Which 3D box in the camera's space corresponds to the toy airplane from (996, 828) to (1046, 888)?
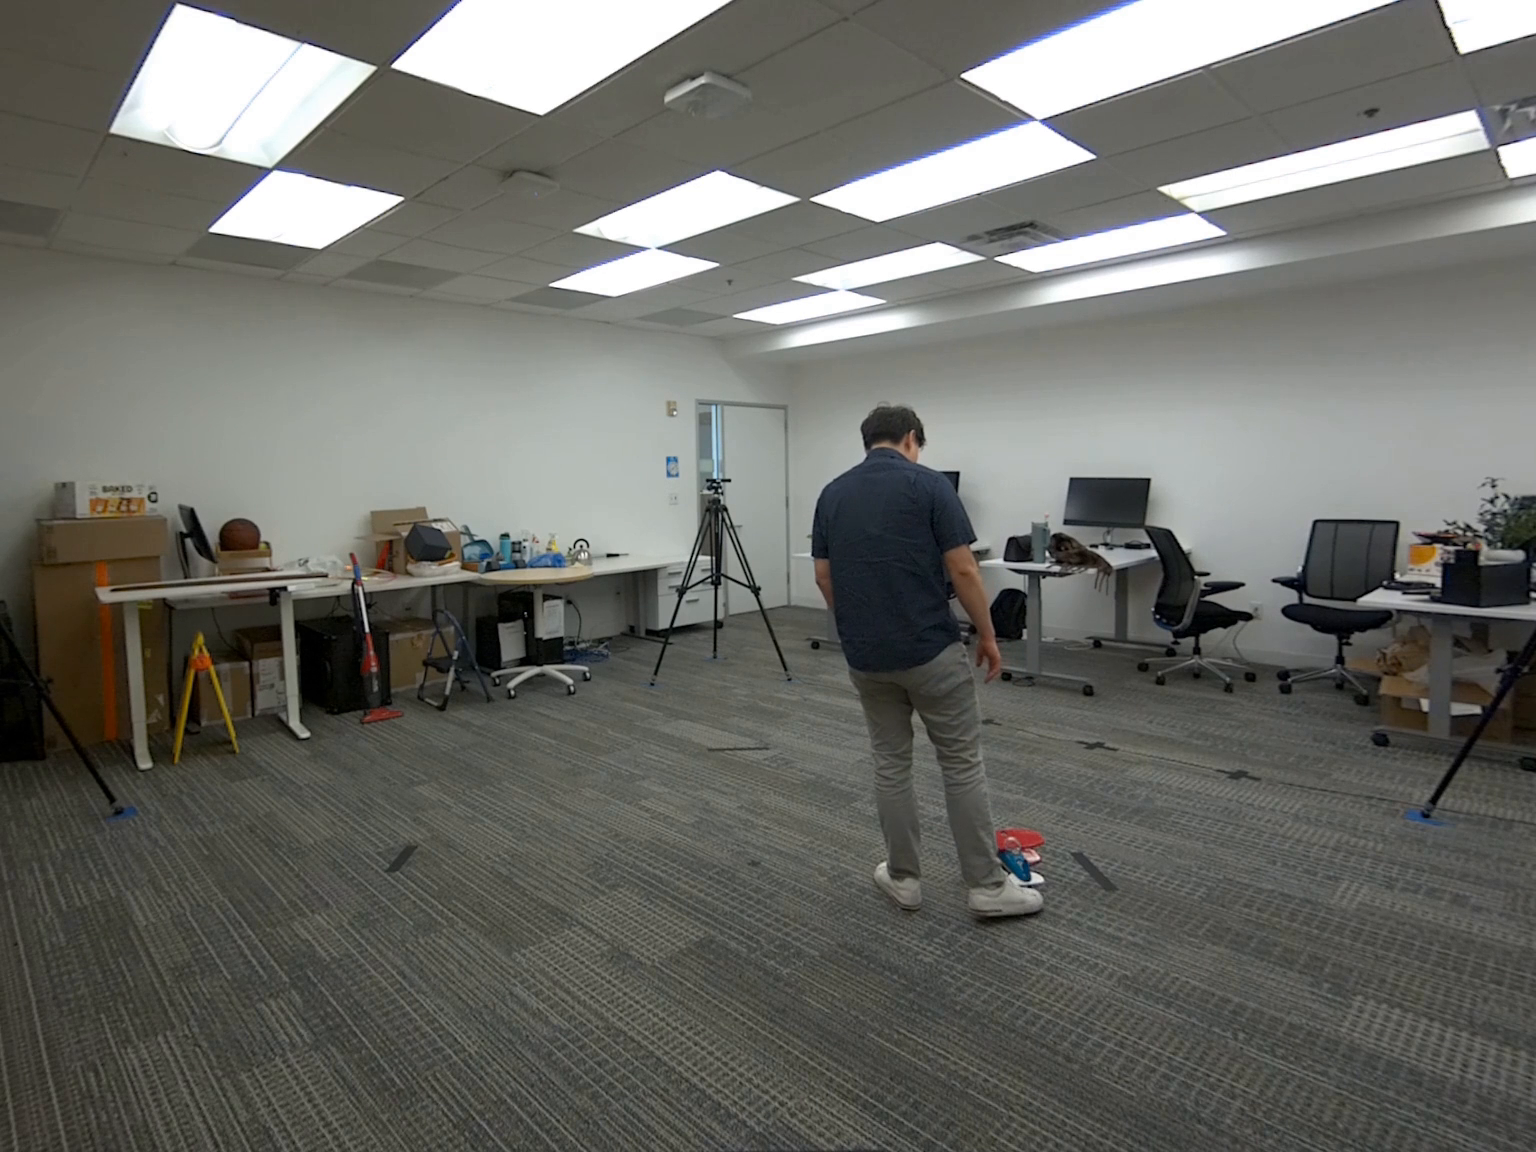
[{"bbox_3d":[0.854,0.976,2.929,0.245,0.156,0.267,-4,7,-36],"label":"toy airplane"}]
